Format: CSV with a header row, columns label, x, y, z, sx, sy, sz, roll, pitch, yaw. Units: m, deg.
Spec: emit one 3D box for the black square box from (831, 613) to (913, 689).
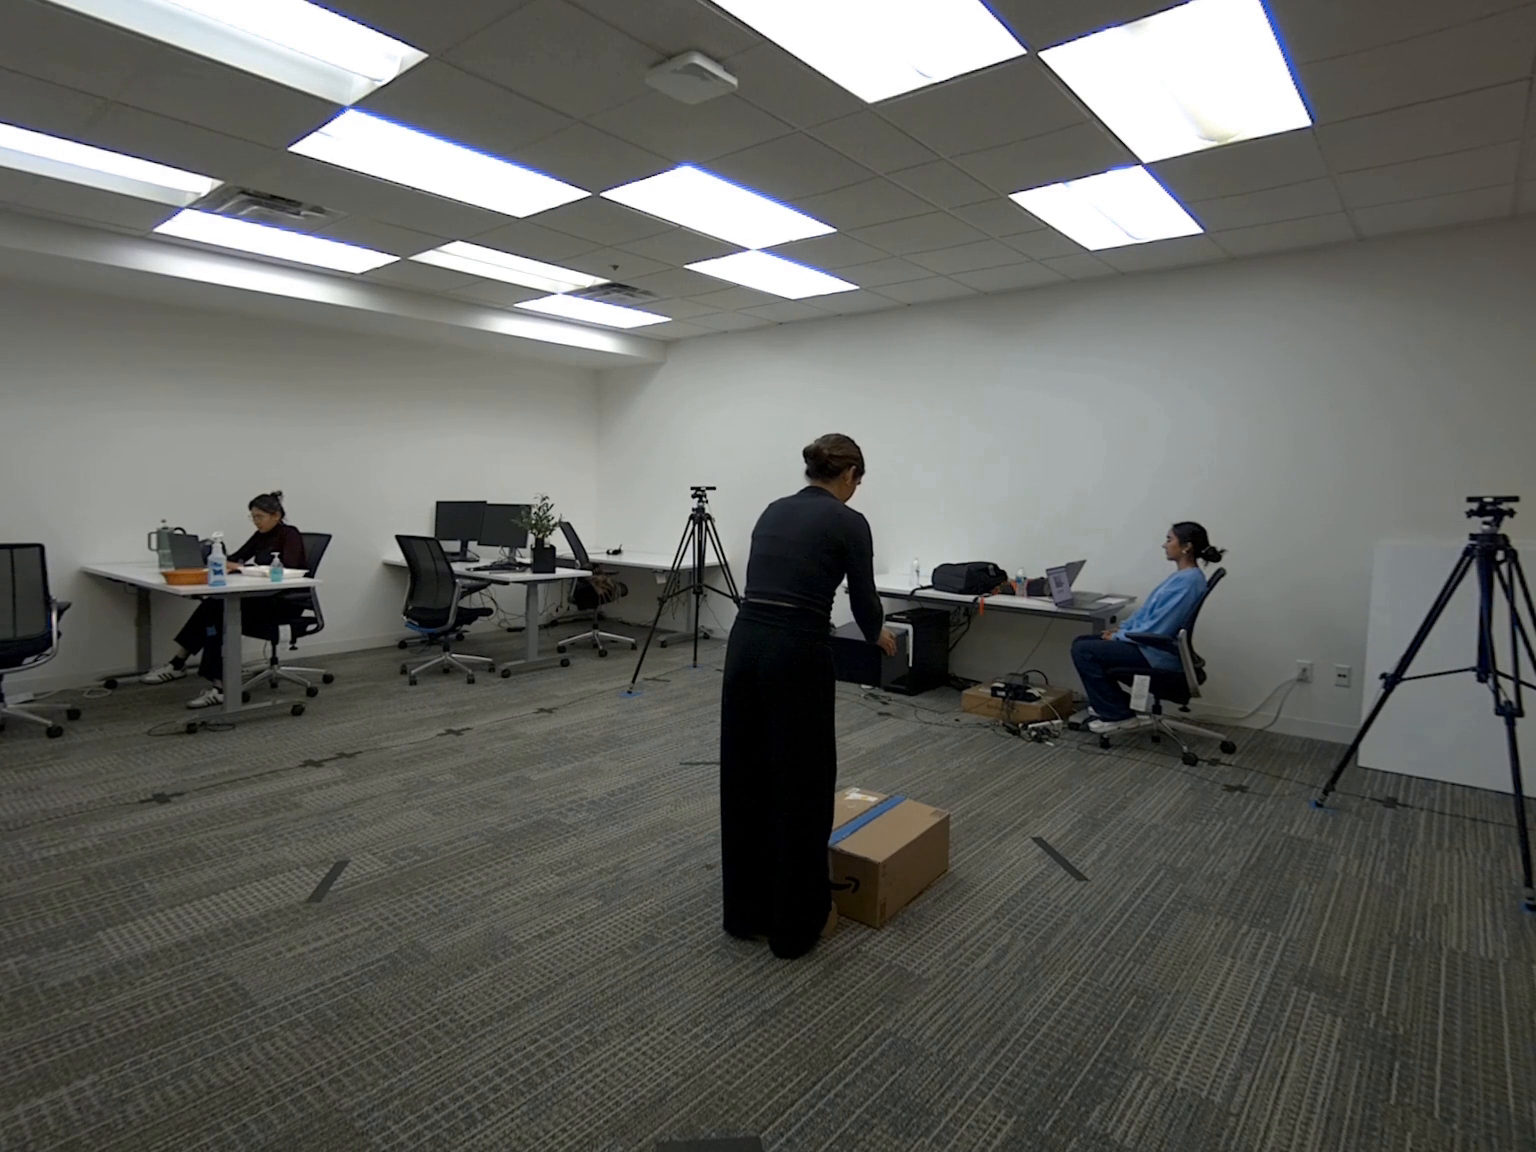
label,x,y,z,sx,sy,sz,roll,pitch,yaw
black square box,0.338,0.270,2.959,0.235,0.154,0.212,5,12,35
